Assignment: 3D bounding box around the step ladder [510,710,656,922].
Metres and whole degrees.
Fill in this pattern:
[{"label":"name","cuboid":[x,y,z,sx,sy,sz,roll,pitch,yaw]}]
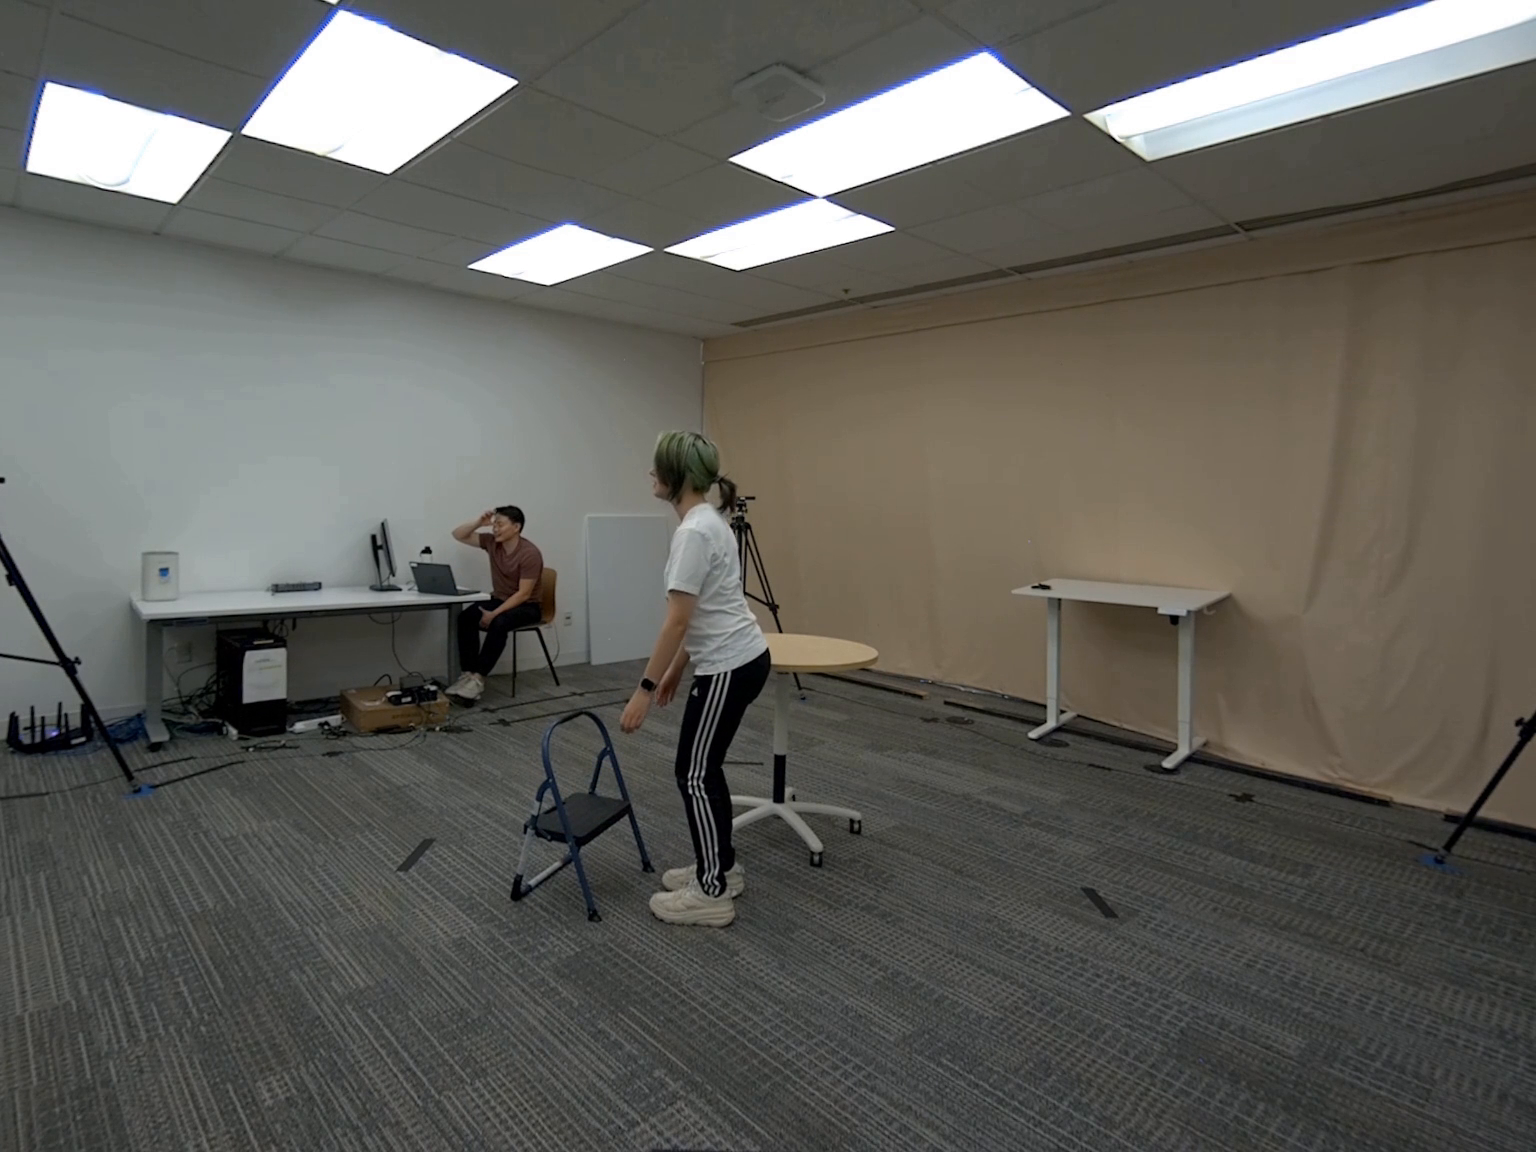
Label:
[{"label":"step ladder","cuboid":[-0.651,0.801,2.986,0.355,0.604,0.425,3,4,19]}]
